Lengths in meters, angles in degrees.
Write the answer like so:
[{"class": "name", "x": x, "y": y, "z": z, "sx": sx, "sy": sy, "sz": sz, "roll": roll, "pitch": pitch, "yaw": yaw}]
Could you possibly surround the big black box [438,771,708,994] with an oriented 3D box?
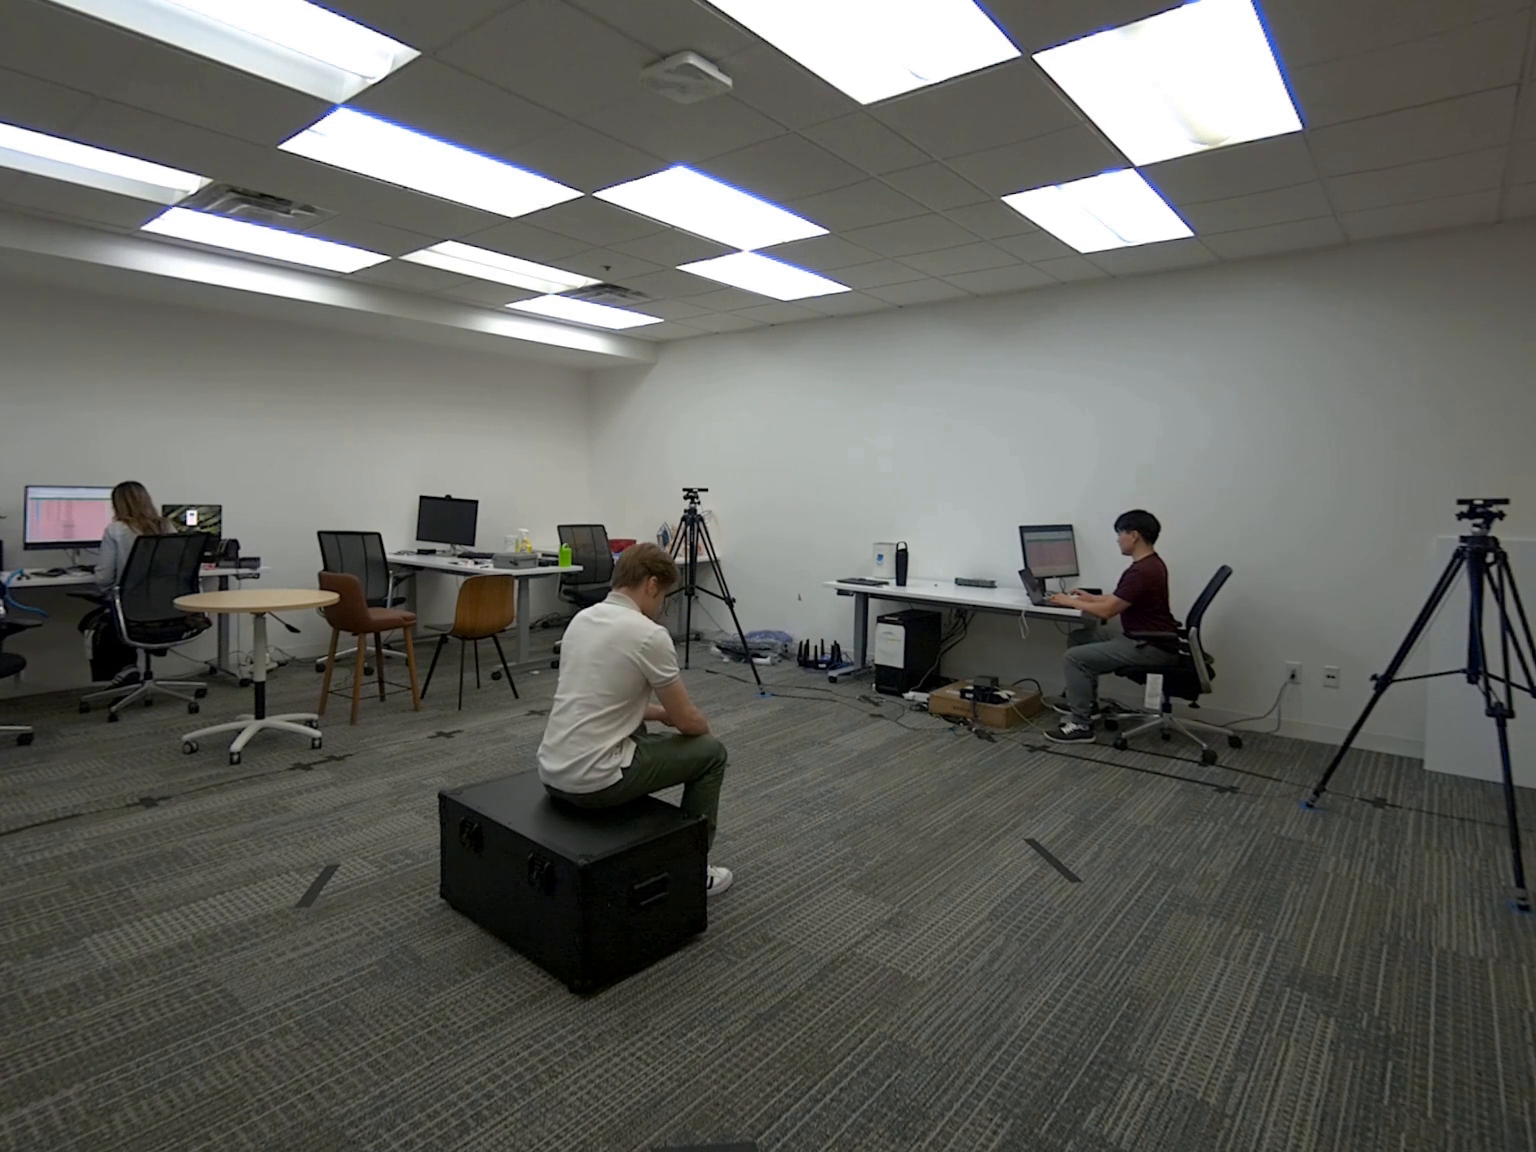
[{"class": "big black box", "x": -0.670, "y": 0.904, "z": 2.741, "sx": 0.898, "sy": 0.383, "sz": 0.508, "roll": 6, "pitch": 8, "yaw": 42}]
